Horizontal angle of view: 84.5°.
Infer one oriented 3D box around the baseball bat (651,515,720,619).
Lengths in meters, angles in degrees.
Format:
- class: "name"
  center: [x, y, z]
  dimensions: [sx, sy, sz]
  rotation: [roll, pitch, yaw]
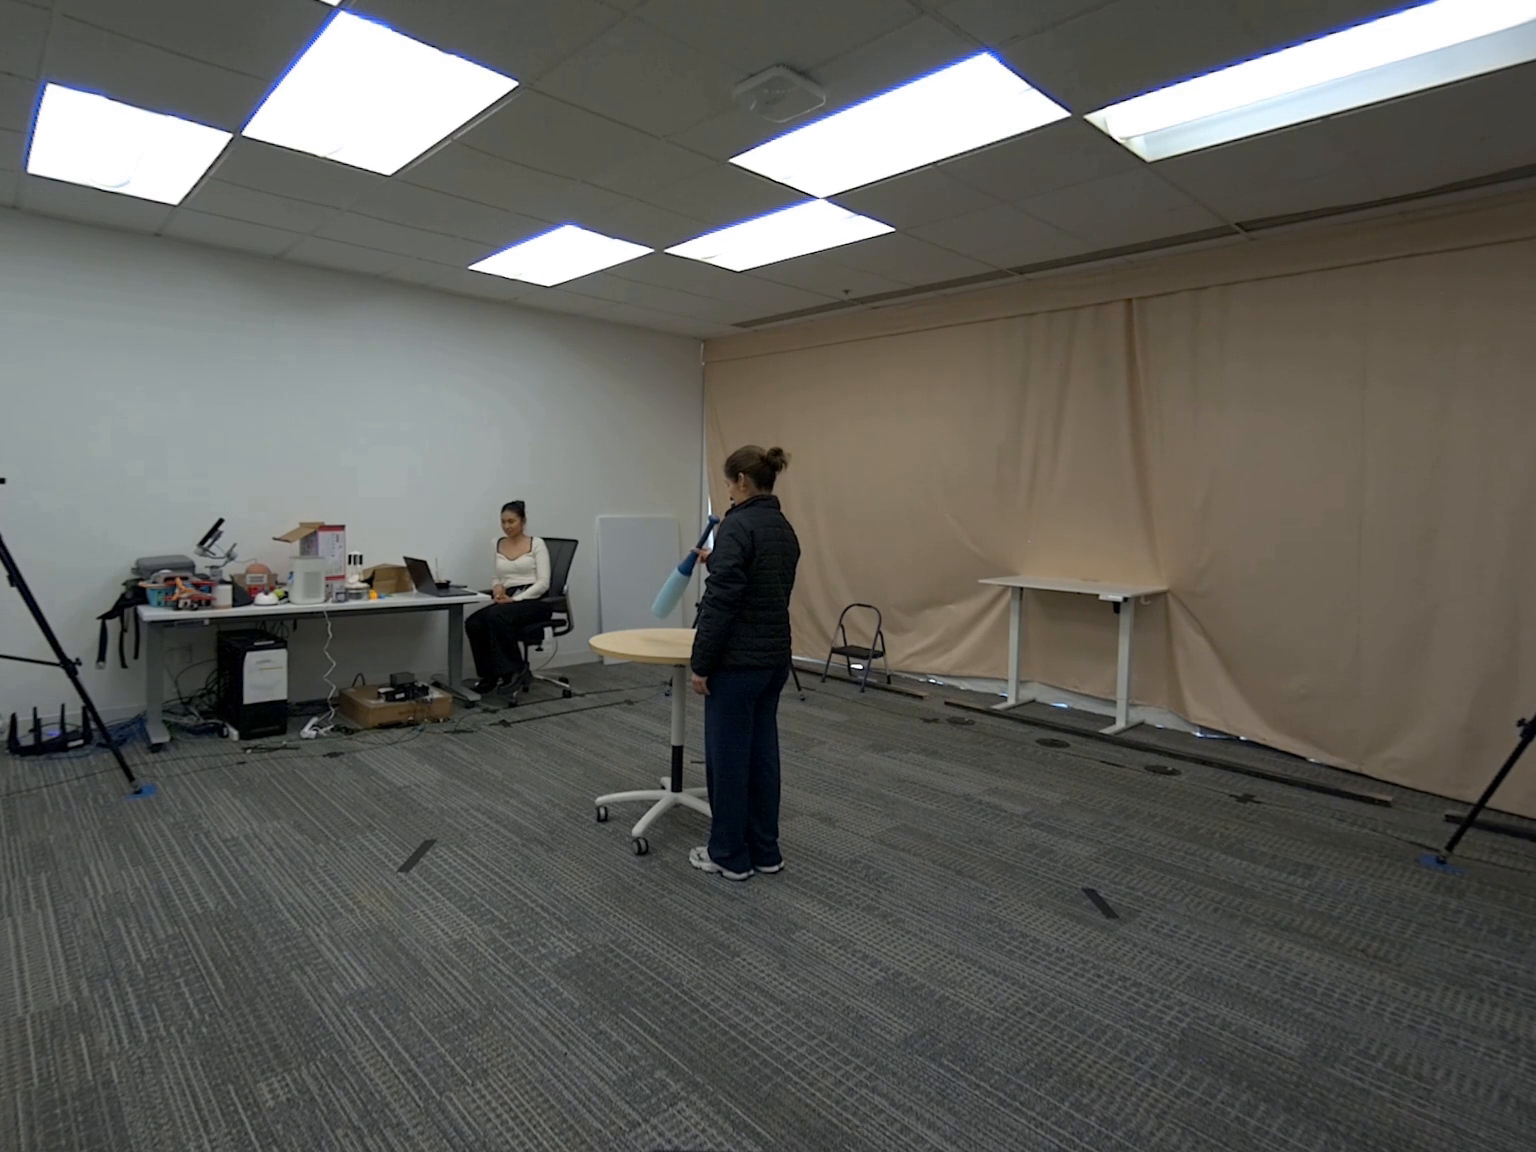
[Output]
- class: "baseball bat"
  center: [-0.347, -0.036, 3.489]
  dimensions: [0.088, 0.540, 0.091]
  rotation: [24, 28, -15]
